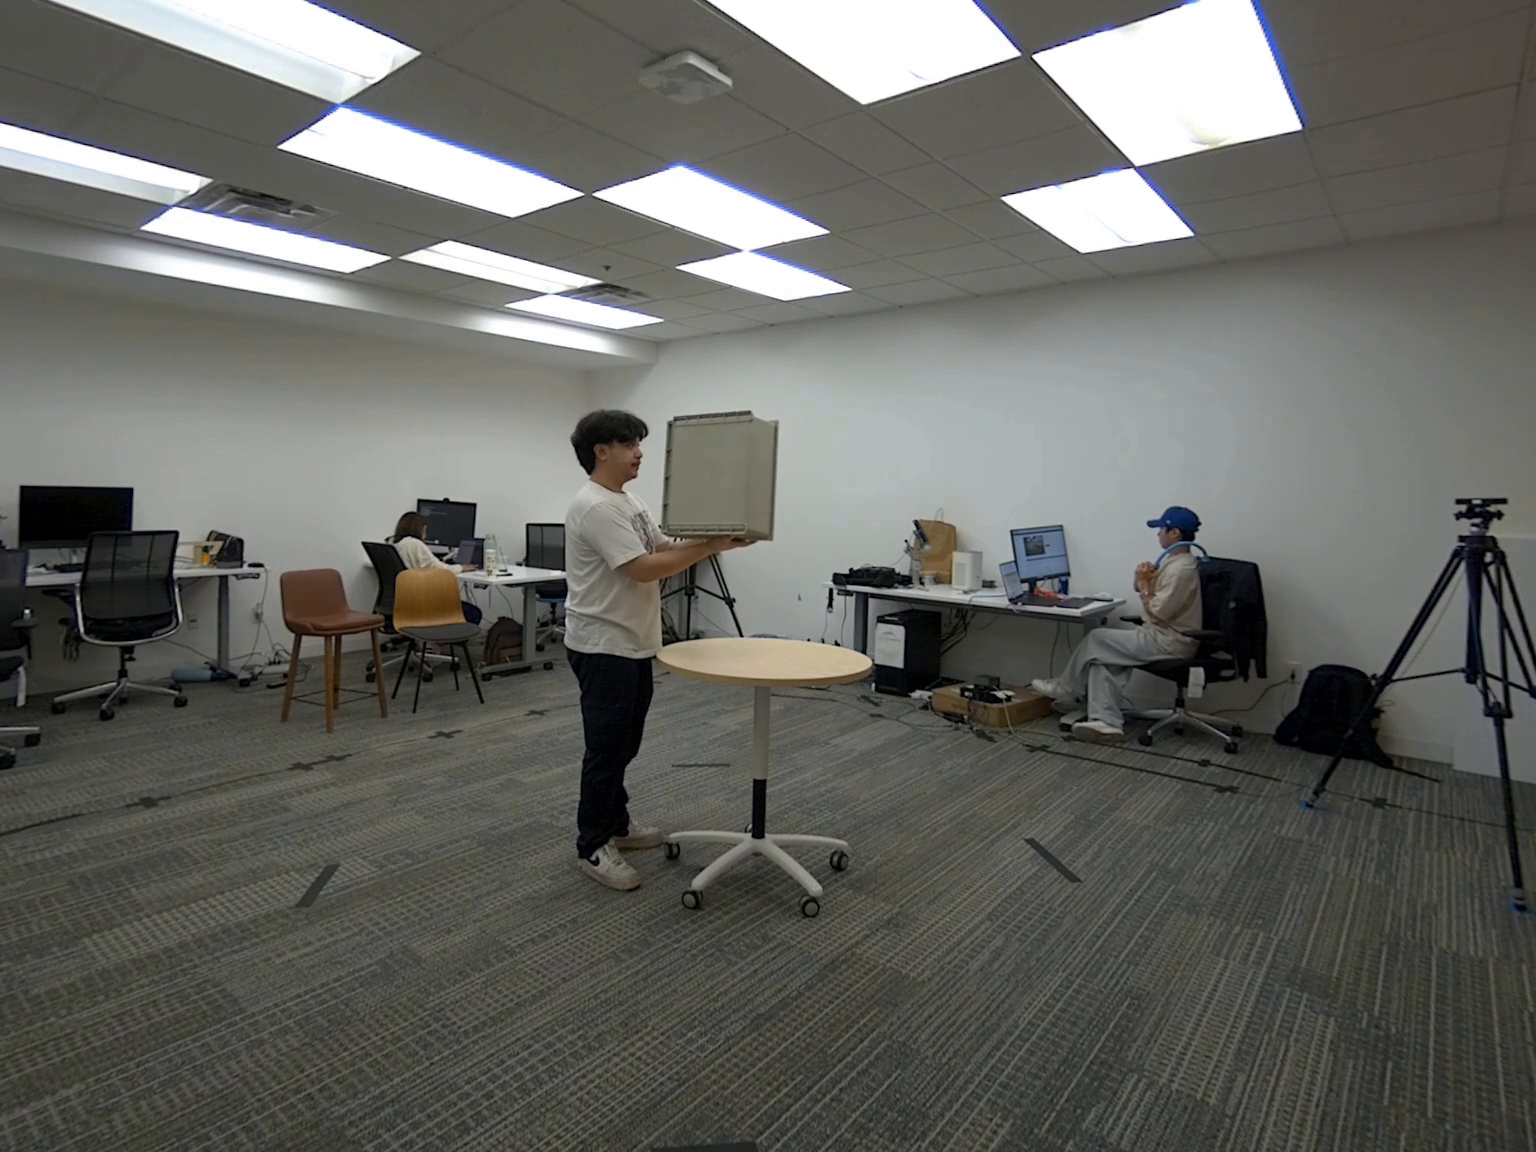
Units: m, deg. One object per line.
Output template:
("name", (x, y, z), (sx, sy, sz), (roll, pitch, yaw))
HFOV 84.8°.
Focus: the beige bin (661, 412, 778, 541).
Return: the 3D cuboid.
("beige bin", (-0.190, -0.349, 2.966), (0.388, 0.424, 0.183), (0, -5, 32))
